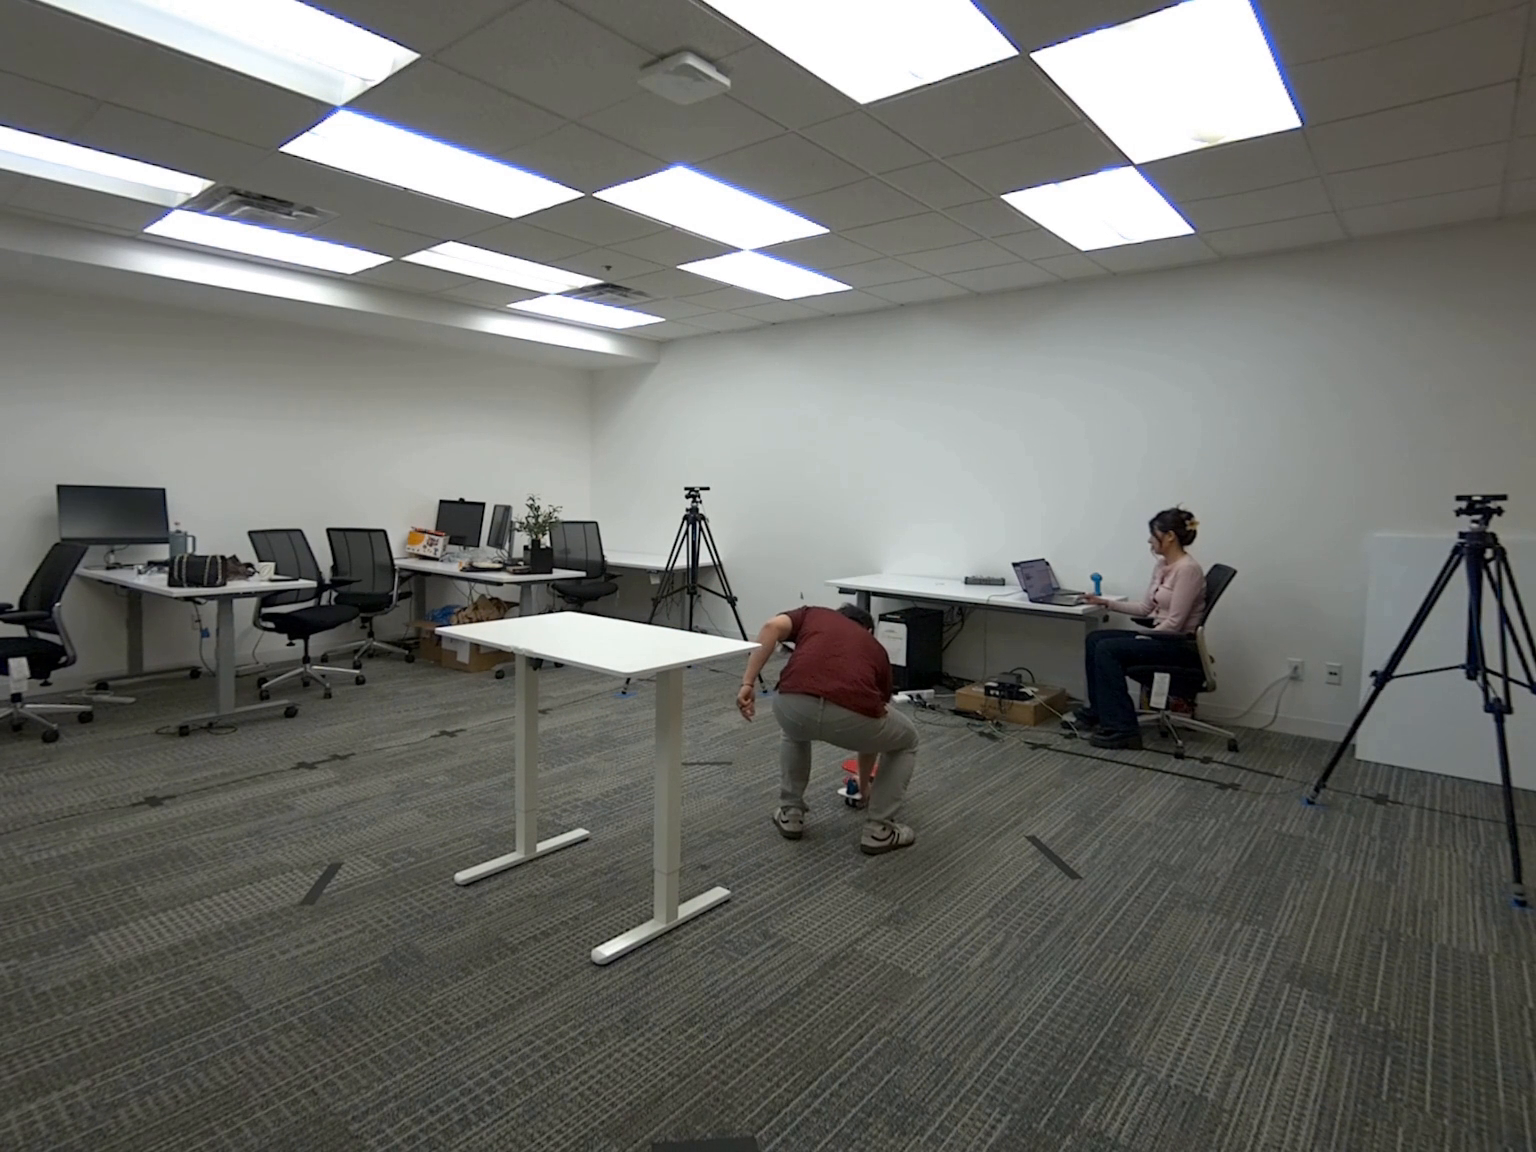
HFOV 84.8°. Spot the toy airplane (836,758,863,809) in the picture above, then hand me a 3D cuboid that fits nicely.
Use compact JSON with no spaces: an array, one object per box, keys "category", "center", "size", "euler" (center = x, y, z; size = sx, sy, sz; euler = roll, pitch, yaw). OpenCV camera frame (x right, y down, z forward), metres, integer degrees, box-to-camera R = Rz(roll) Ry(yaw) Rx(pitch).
[{"category":"toy airplane","center":[0.433,0.925,3.812],"size":[0.255,0.156,0.256],"euler":[2,3,13]}]
